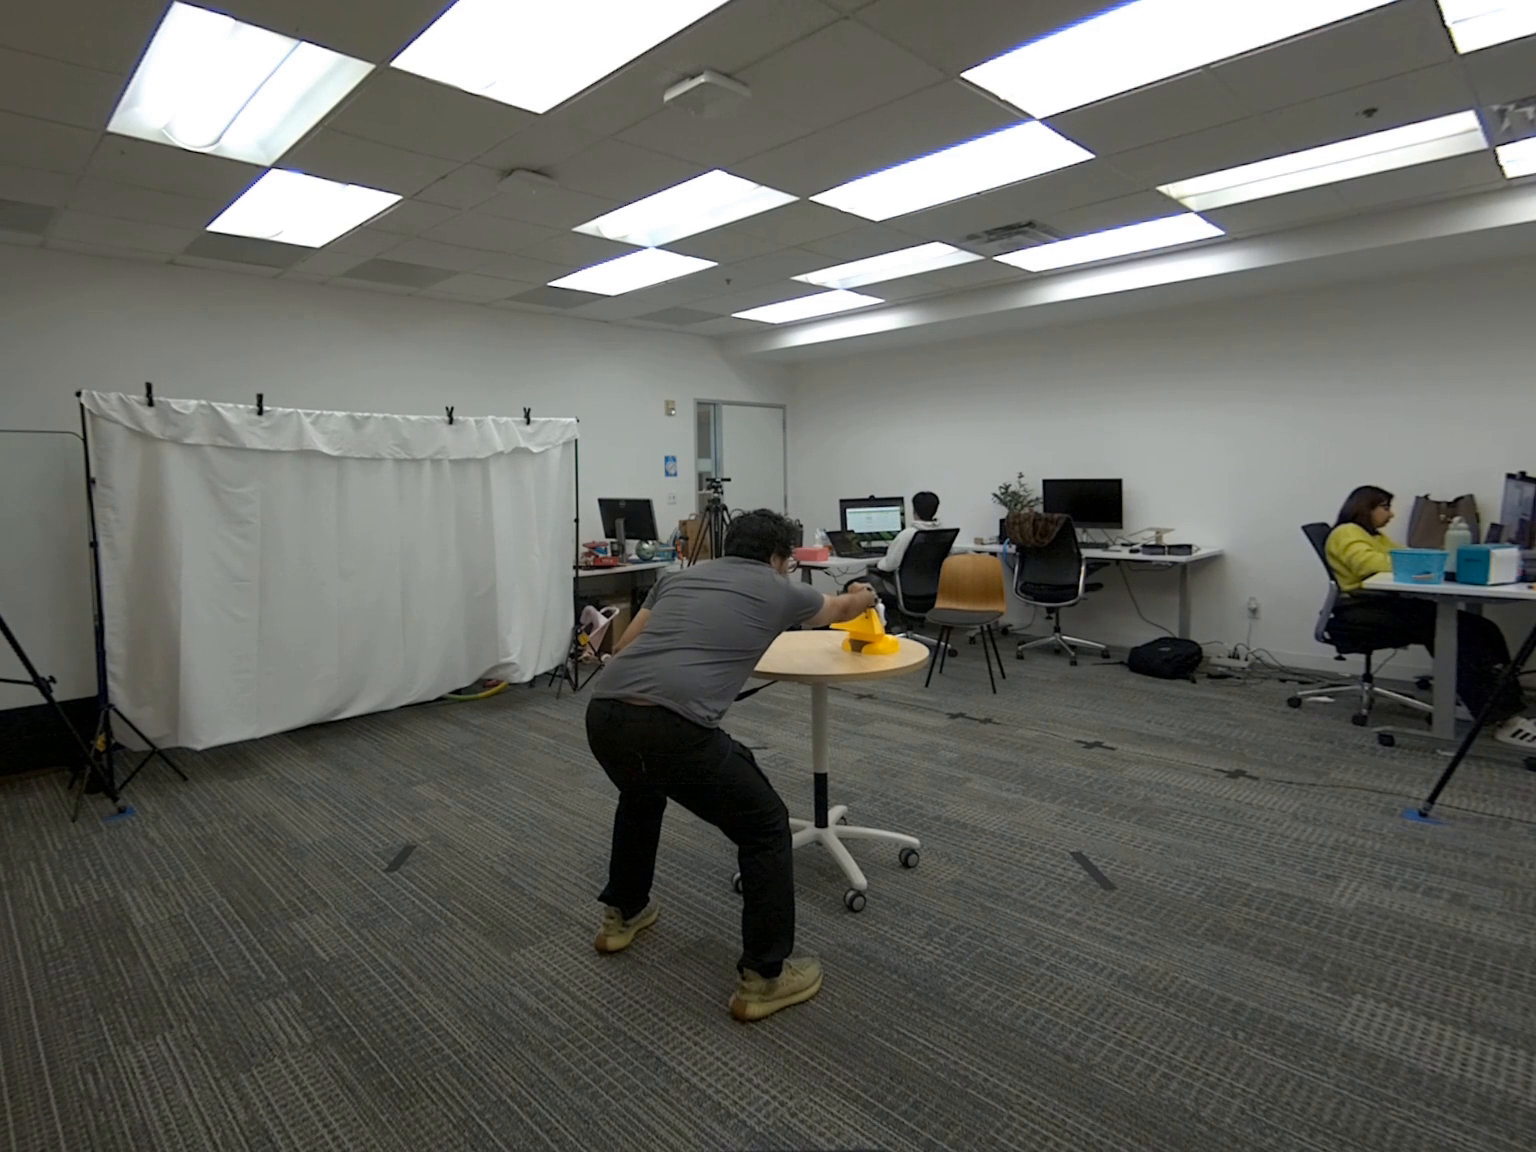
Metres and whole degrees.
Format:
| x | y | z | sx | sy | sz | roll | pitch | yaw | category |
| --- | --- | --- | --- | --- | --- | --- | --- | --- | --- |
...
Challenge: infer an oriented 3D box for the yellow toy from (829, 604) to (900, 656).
| x | y | z | sx | sy | sz | roll | pitch | yaw | category |
| --- | --- | --- | --- | --- | --- | --- | --- | --- | --- |
| 0.354 | 0.145 | 3.024 | 0.188 | 0.230 | 0.211 | -5 | 6 | -44 | yellow toy |
